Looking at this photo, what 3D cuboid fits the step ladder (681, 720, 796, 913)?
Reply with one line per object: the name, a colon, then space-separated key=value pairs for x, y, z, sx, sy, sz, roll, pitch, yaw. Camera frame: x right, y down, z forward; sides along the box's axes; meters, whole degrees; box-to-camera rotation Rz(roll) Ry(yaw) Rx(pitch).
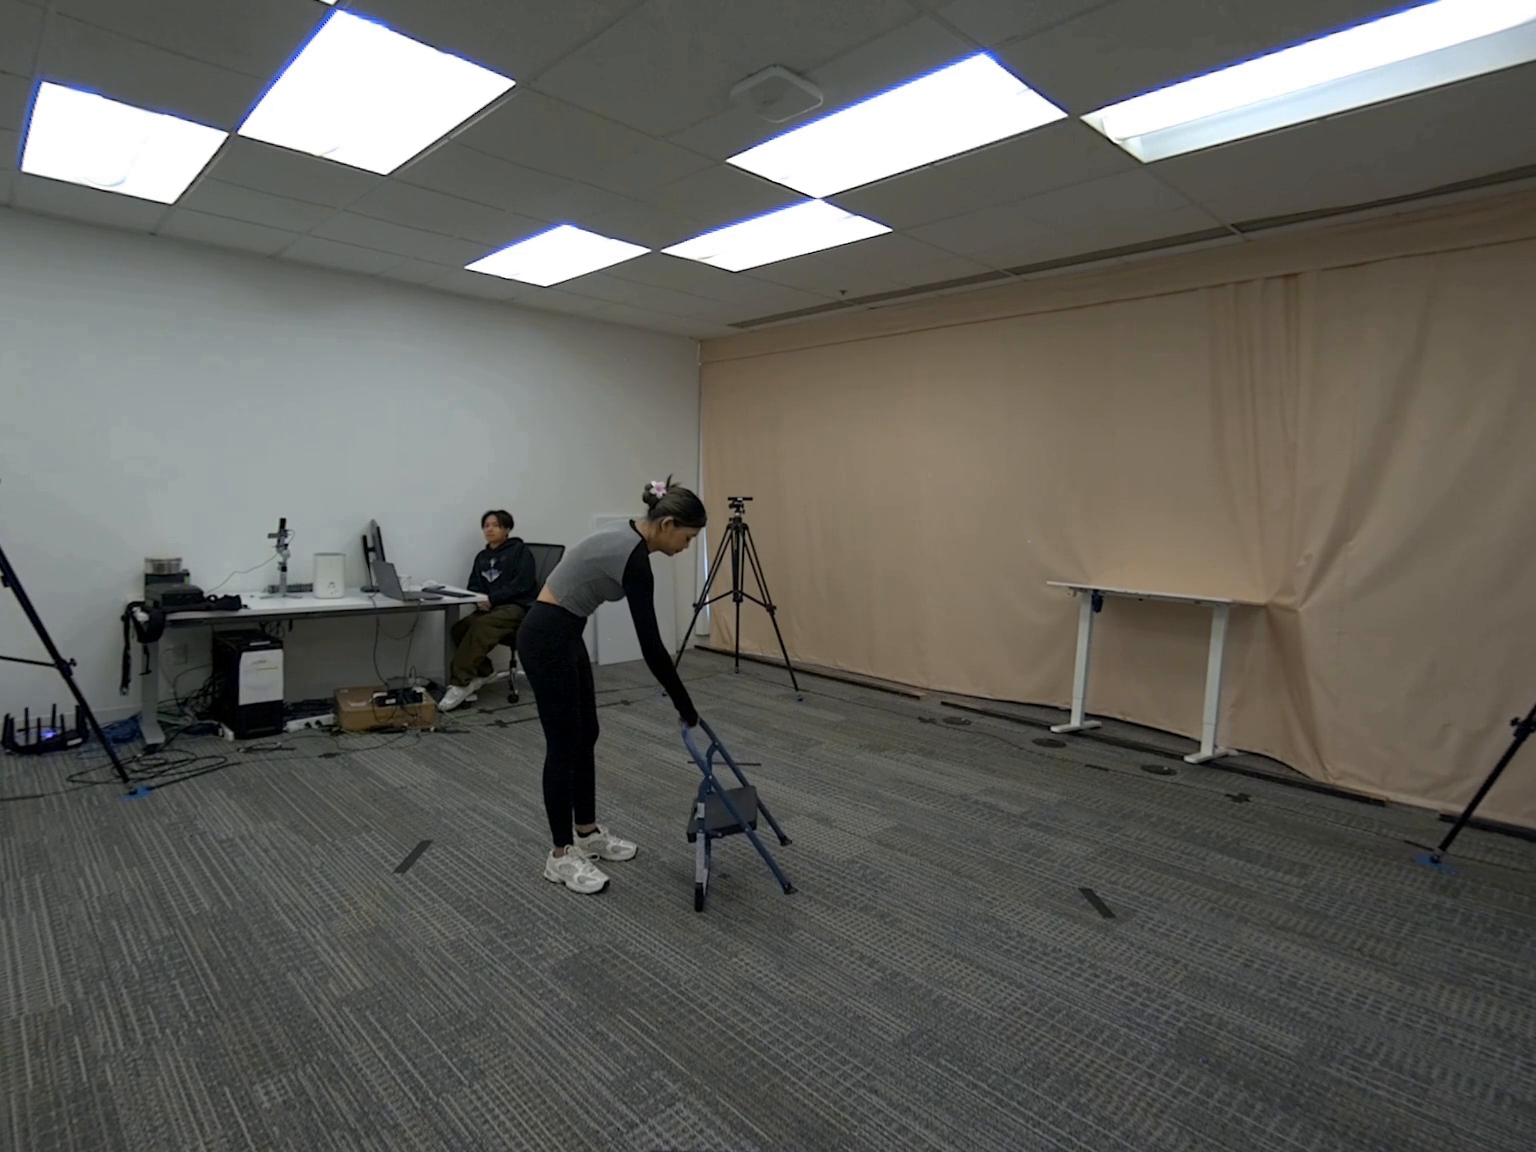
step ladder: x=-0.151 y=0.796 z=3.004 sx=0.350 sy=0.604 sz=0.431 roll=-11 pitch=3 yaw=1
